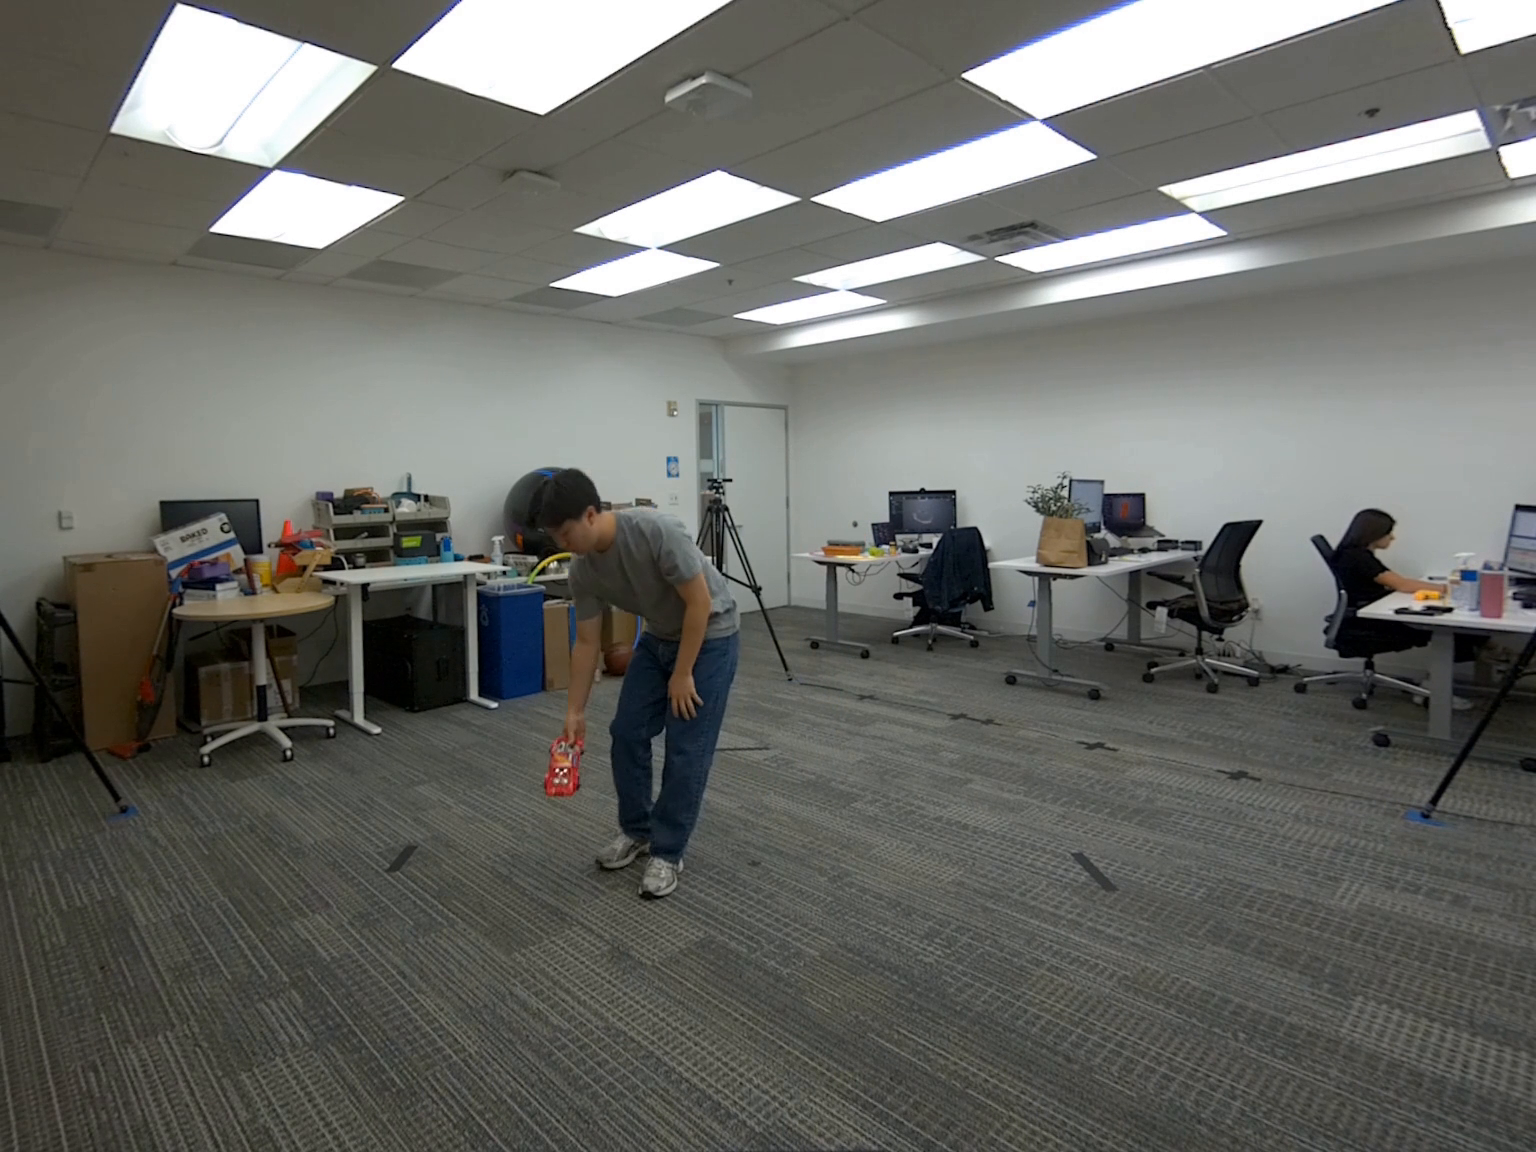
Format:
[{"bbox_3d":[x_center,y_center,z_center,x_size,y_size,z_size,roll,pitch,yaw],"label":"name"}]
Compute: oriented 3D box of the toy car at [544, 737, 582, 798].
[{"bbox_3d":[-0.673,0.648,2.858,0.130,0.081,0.260,0,24,-4],"label":"toy car"}]
